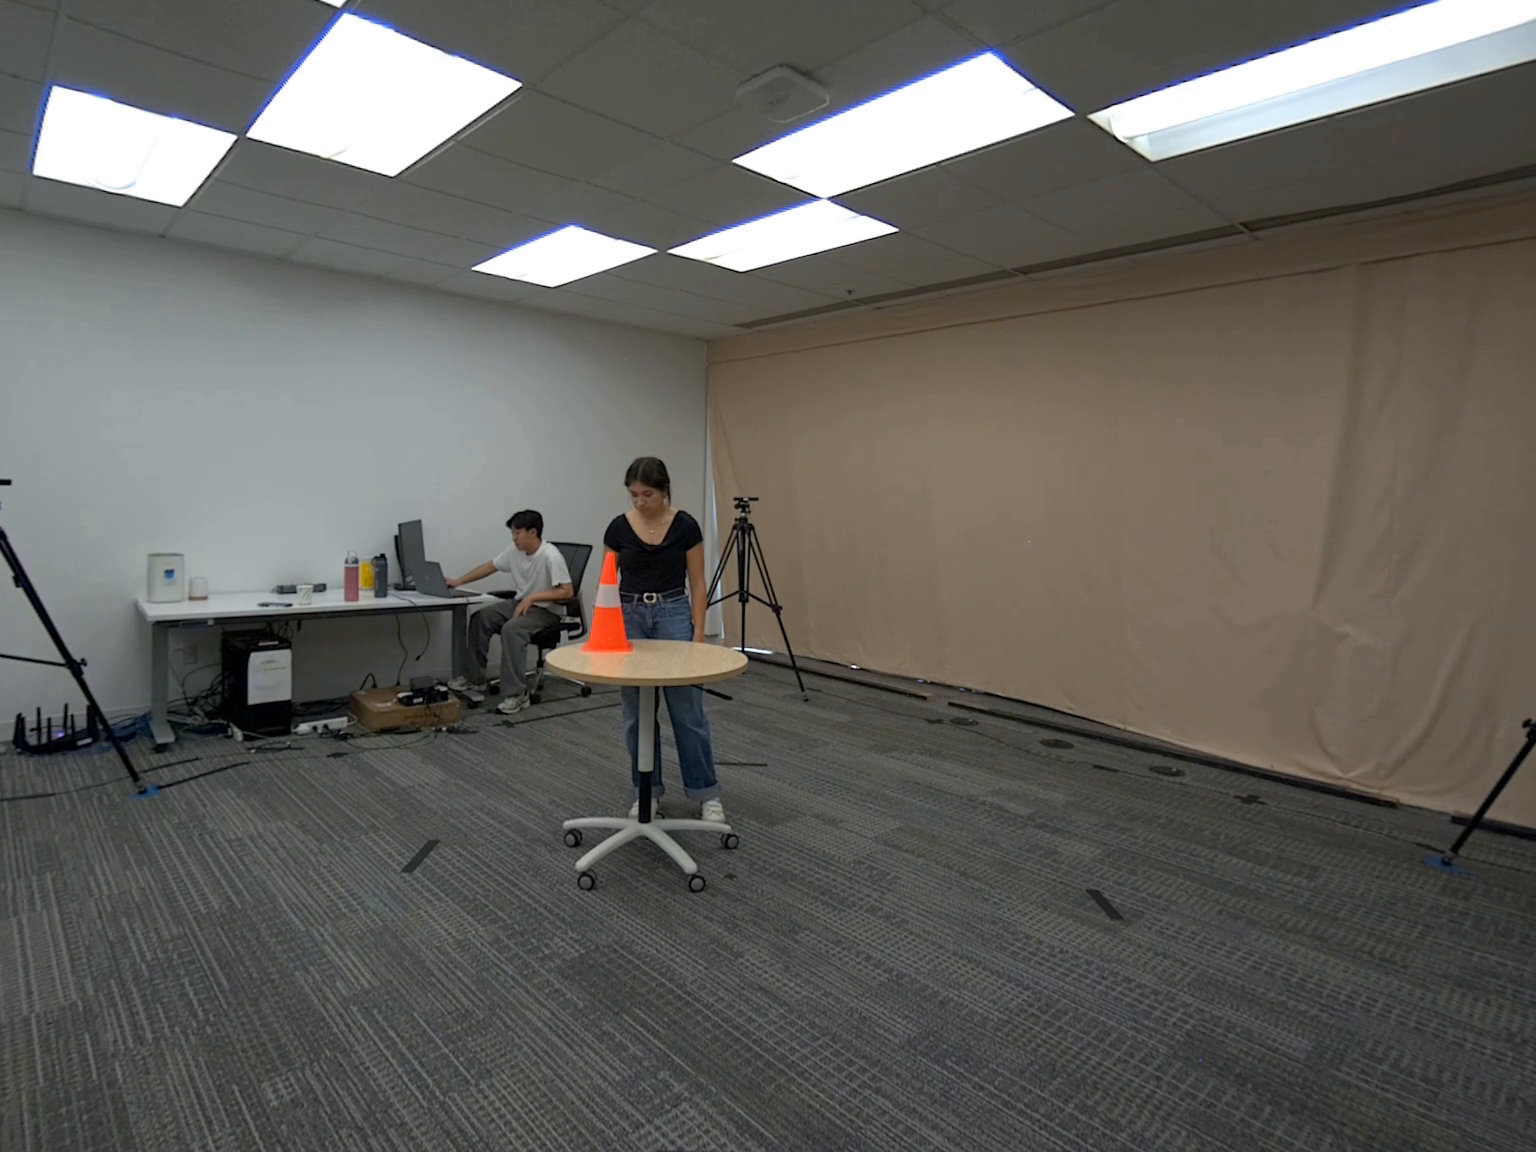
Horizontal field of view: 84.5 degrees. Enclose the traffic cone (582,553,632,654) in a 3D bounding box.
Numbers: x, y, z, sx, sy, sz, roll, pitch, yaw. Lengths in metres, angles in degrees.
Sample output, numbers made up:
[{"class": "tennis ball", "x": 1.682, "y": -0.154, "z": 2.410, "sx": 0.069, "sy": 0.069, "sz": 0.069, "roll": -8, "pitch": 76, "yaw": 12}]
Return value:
[{"class": "traffic cone", "x": -0.660, "y": 0.104, "z": 3.379, "sx": 0.202, "sy": 0.384, "sz": 0.206, "roll": 4, "pitch": 0, "yaw": -8}]
